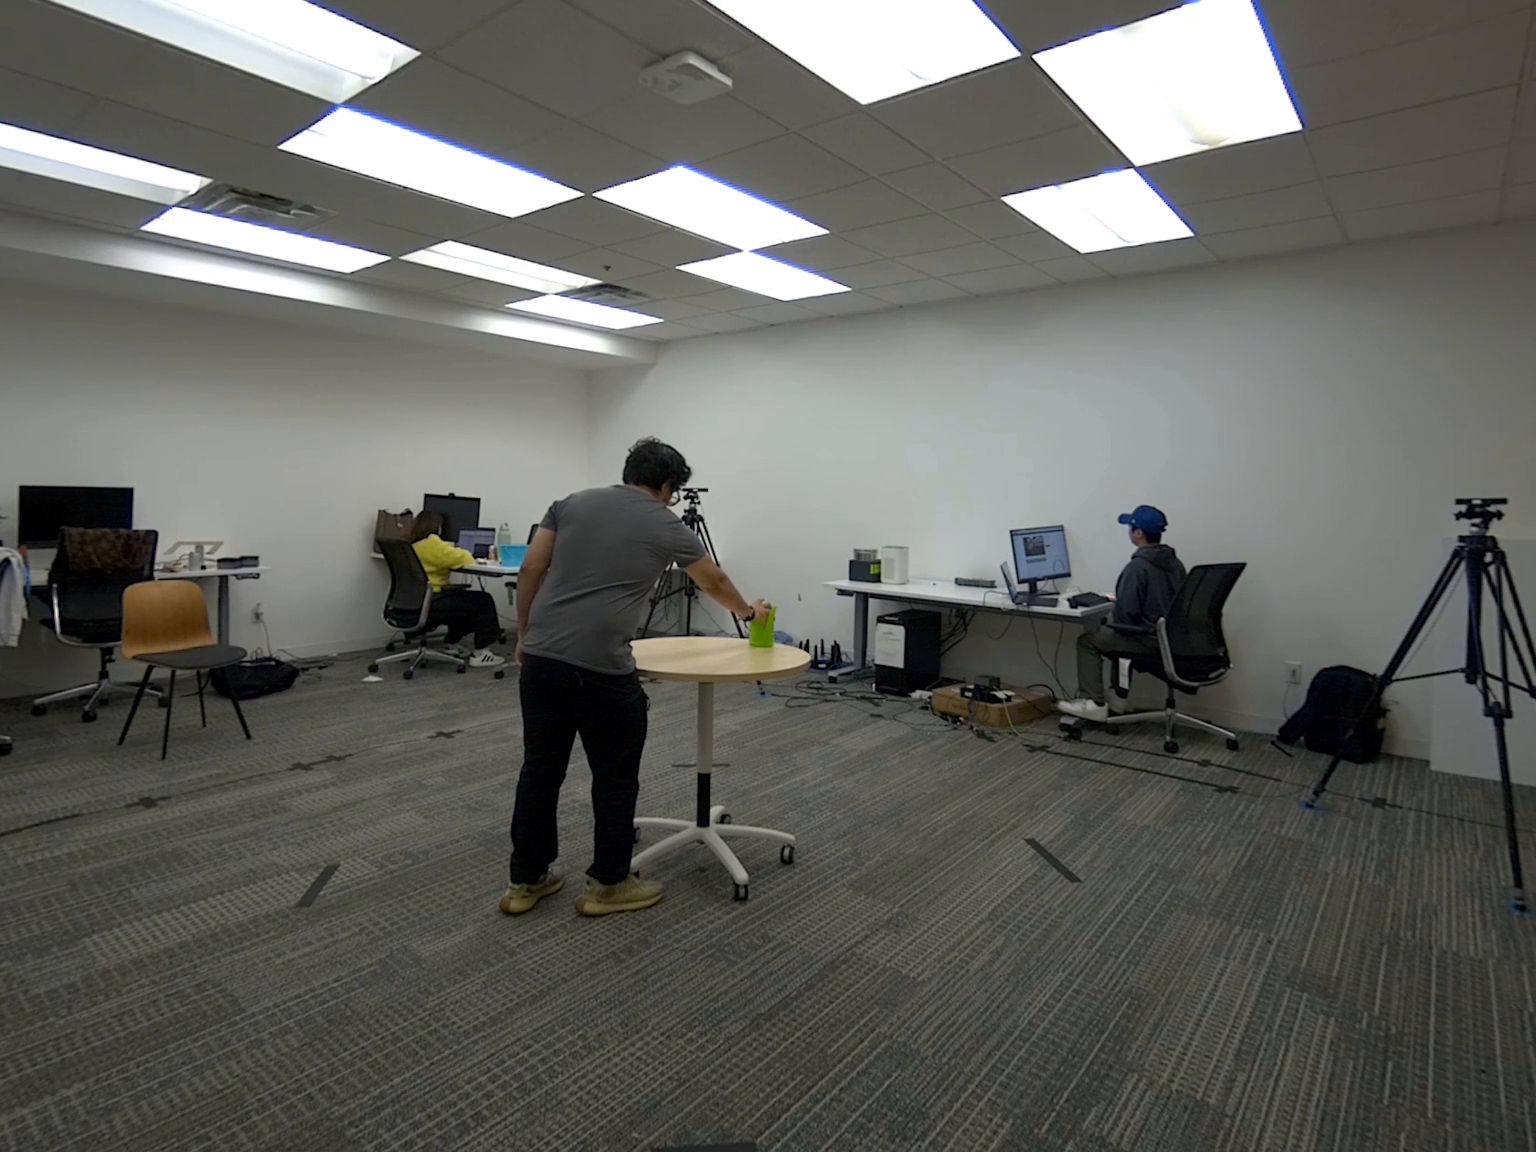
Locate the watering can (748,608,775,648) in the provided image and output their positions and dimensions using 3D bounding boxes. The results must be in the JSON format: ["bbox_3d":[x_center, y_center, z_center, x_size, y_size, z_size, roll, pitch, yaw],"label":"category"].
[{"bbox_3d":[-0.041,0.187,3.321,0.098,0.177,0.278,0,2,-1],"label":"watering can"}]
